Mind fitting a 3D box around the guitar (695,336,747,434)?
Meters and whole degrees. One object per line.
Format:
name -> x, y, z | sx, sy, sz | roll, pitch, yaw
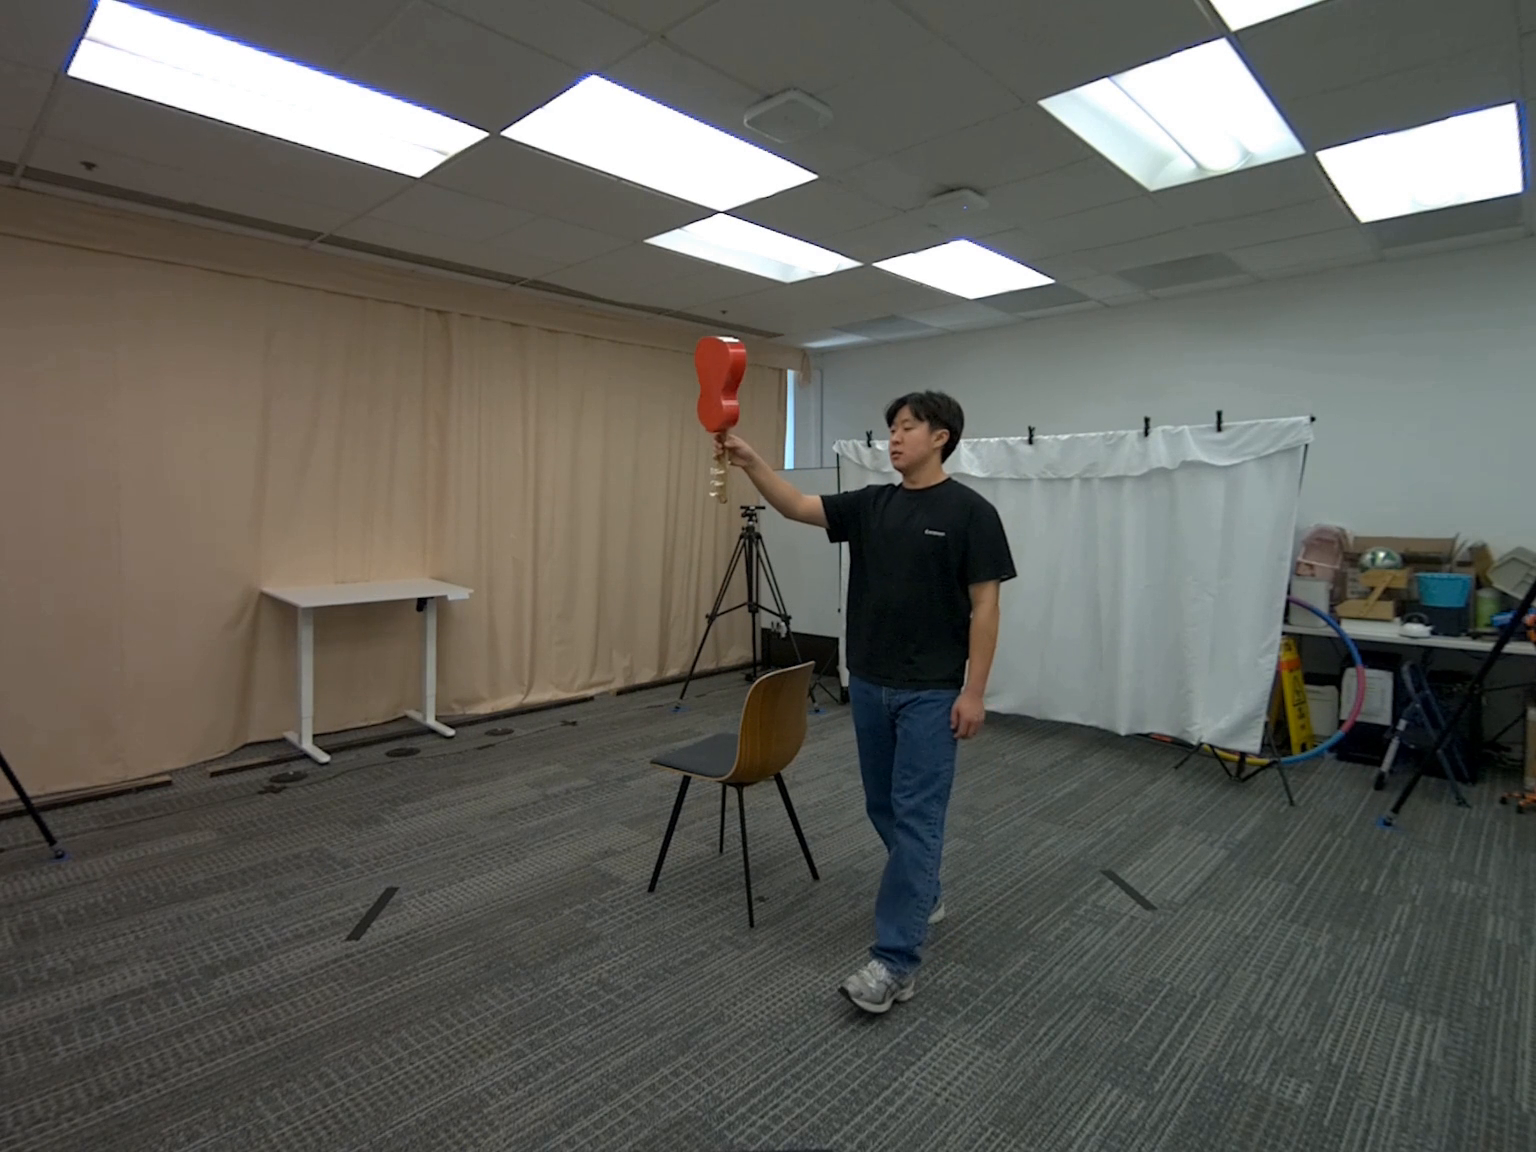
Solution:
guitar -> -0.126, -0.457, 2.501 | 0.069, 0.494, 0.199 | -8, 12, -32
